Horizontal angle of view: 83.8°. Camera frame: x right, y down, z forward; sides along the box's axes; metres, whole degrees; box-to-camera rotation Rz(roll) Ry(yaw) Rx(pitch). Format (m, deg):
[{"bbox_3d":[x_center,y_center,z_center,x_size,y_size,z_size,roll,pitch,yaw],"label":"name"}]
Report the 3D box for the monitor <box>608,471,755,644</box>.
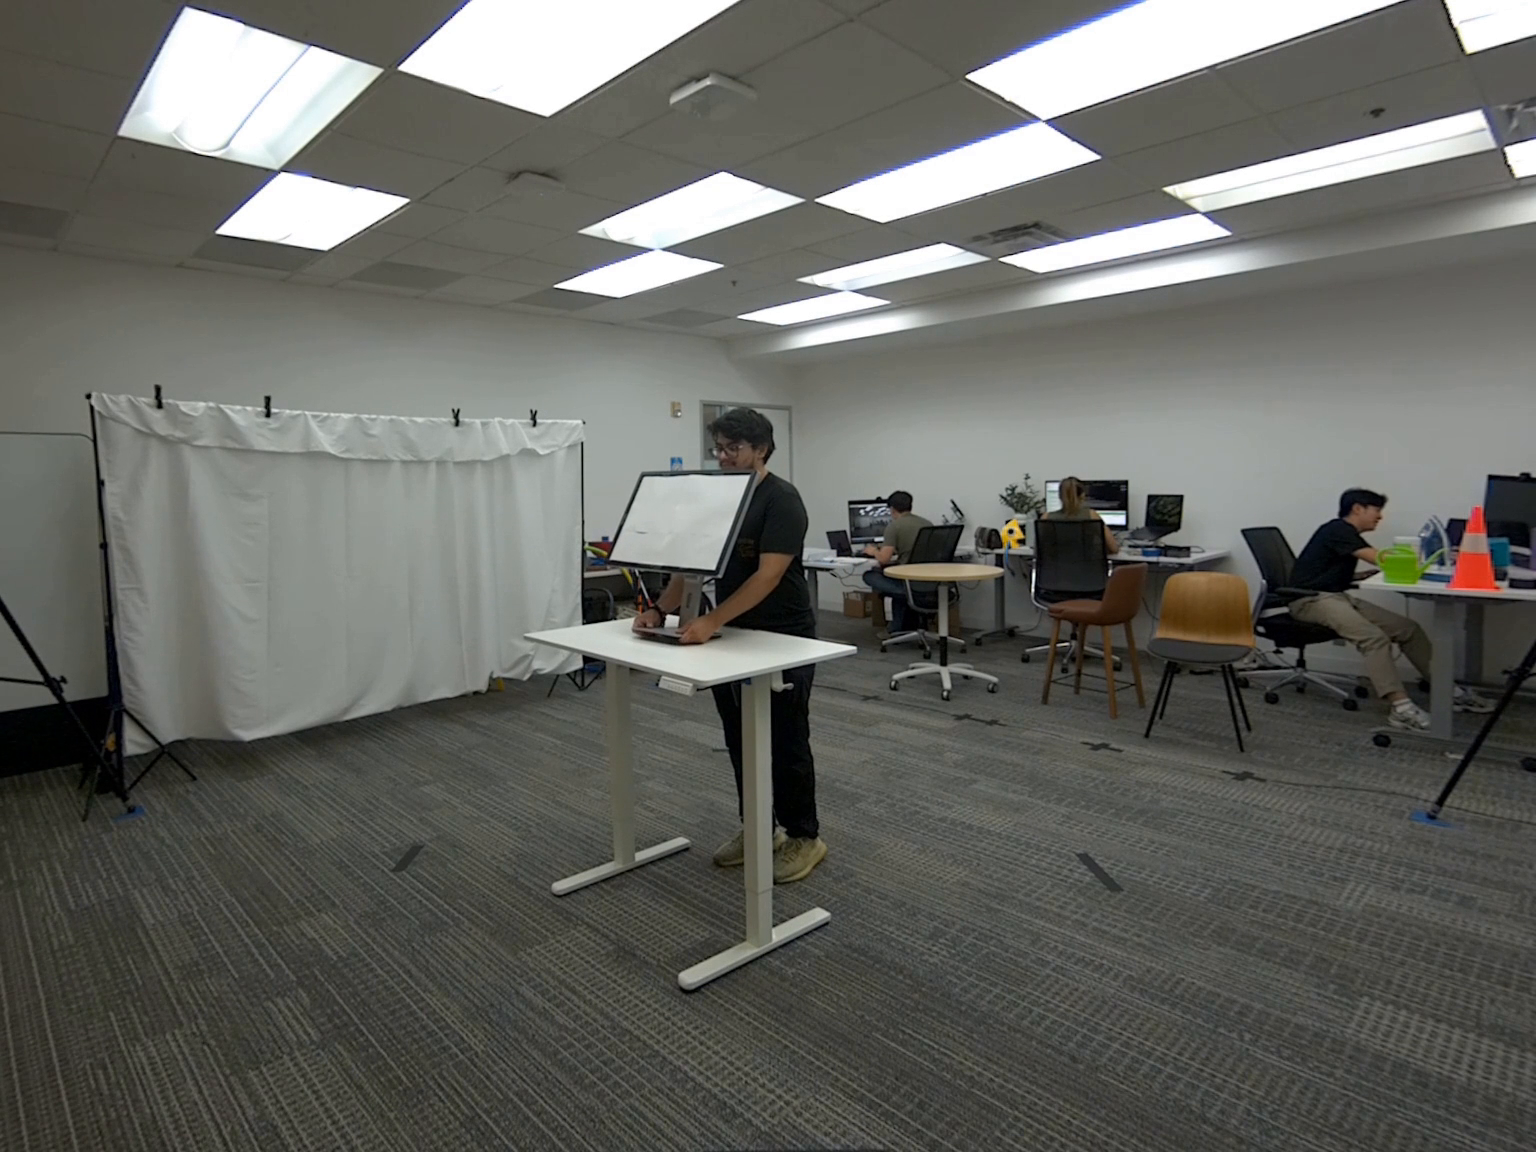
[{"bbox_3d":[-0.262,-0.073,2.824,0.583,0.558,0.202,4,-15,43],"label":"monitor"}]
